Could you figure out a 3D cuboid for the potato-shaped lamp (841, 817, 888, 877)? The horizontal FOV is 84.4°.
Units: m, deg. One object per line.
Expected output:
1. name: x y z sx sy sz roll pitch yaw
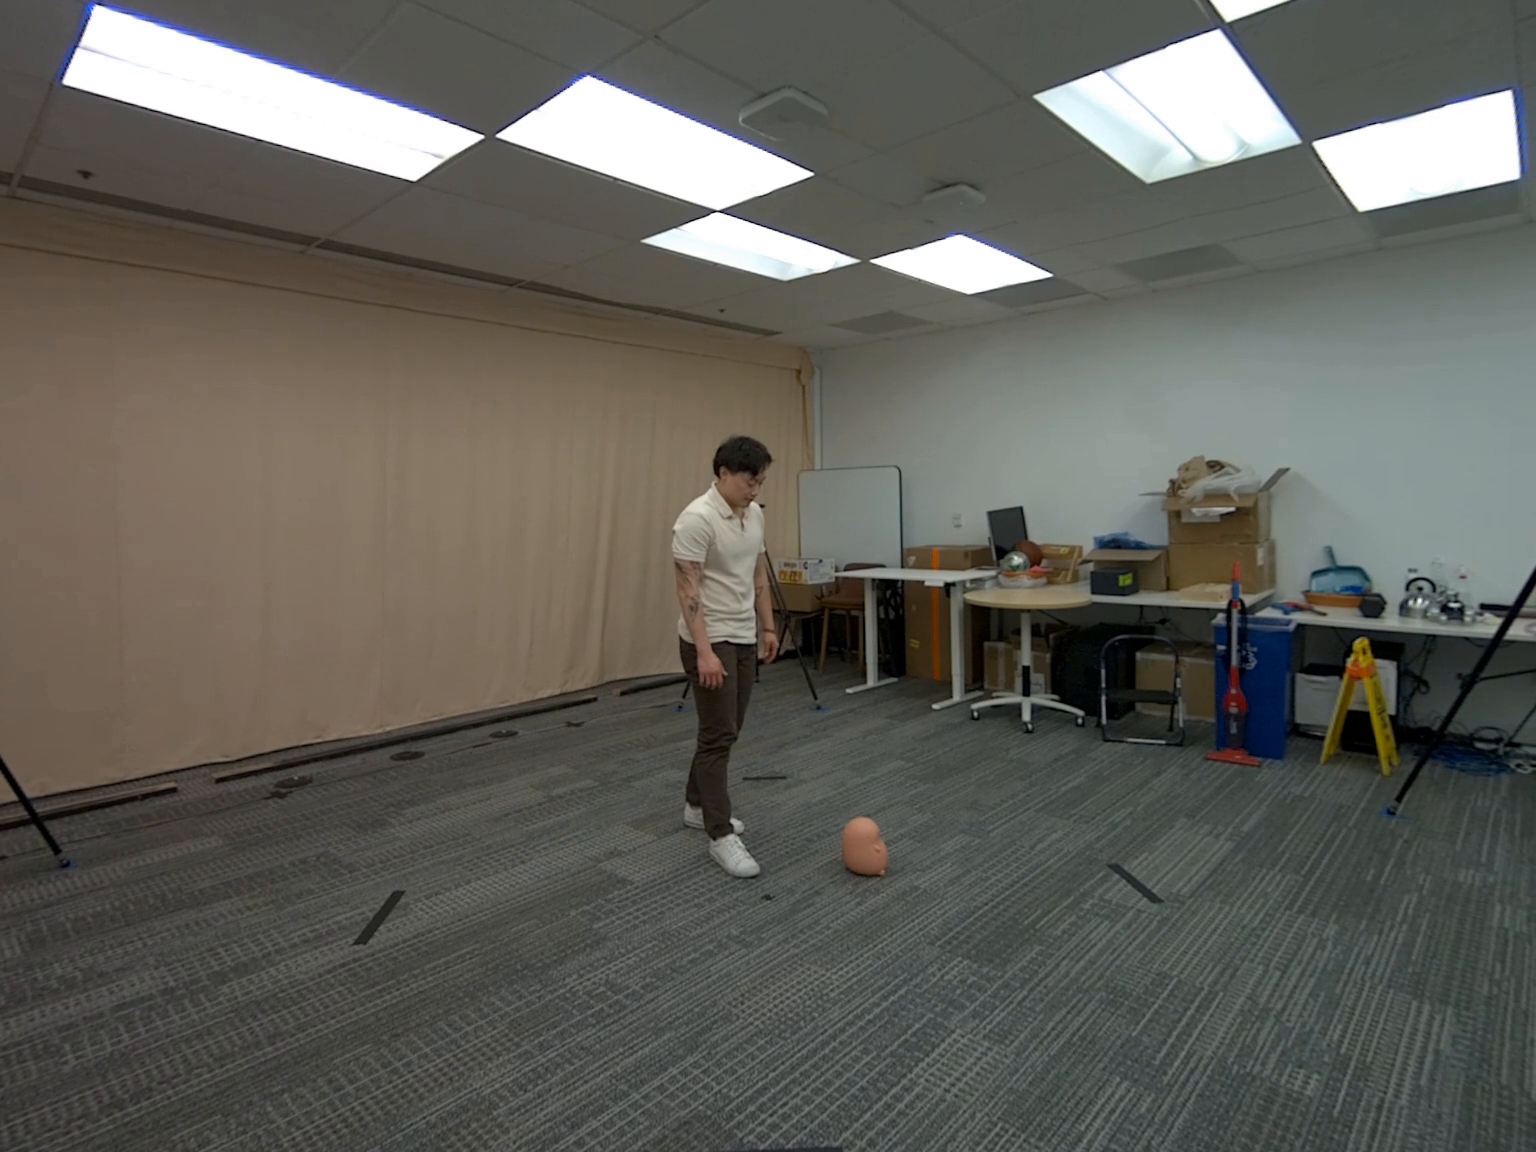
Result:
1. potato-shaped lamp: 0.366 1.016 3.186 0.173 0.198 0.163 0 2 9
